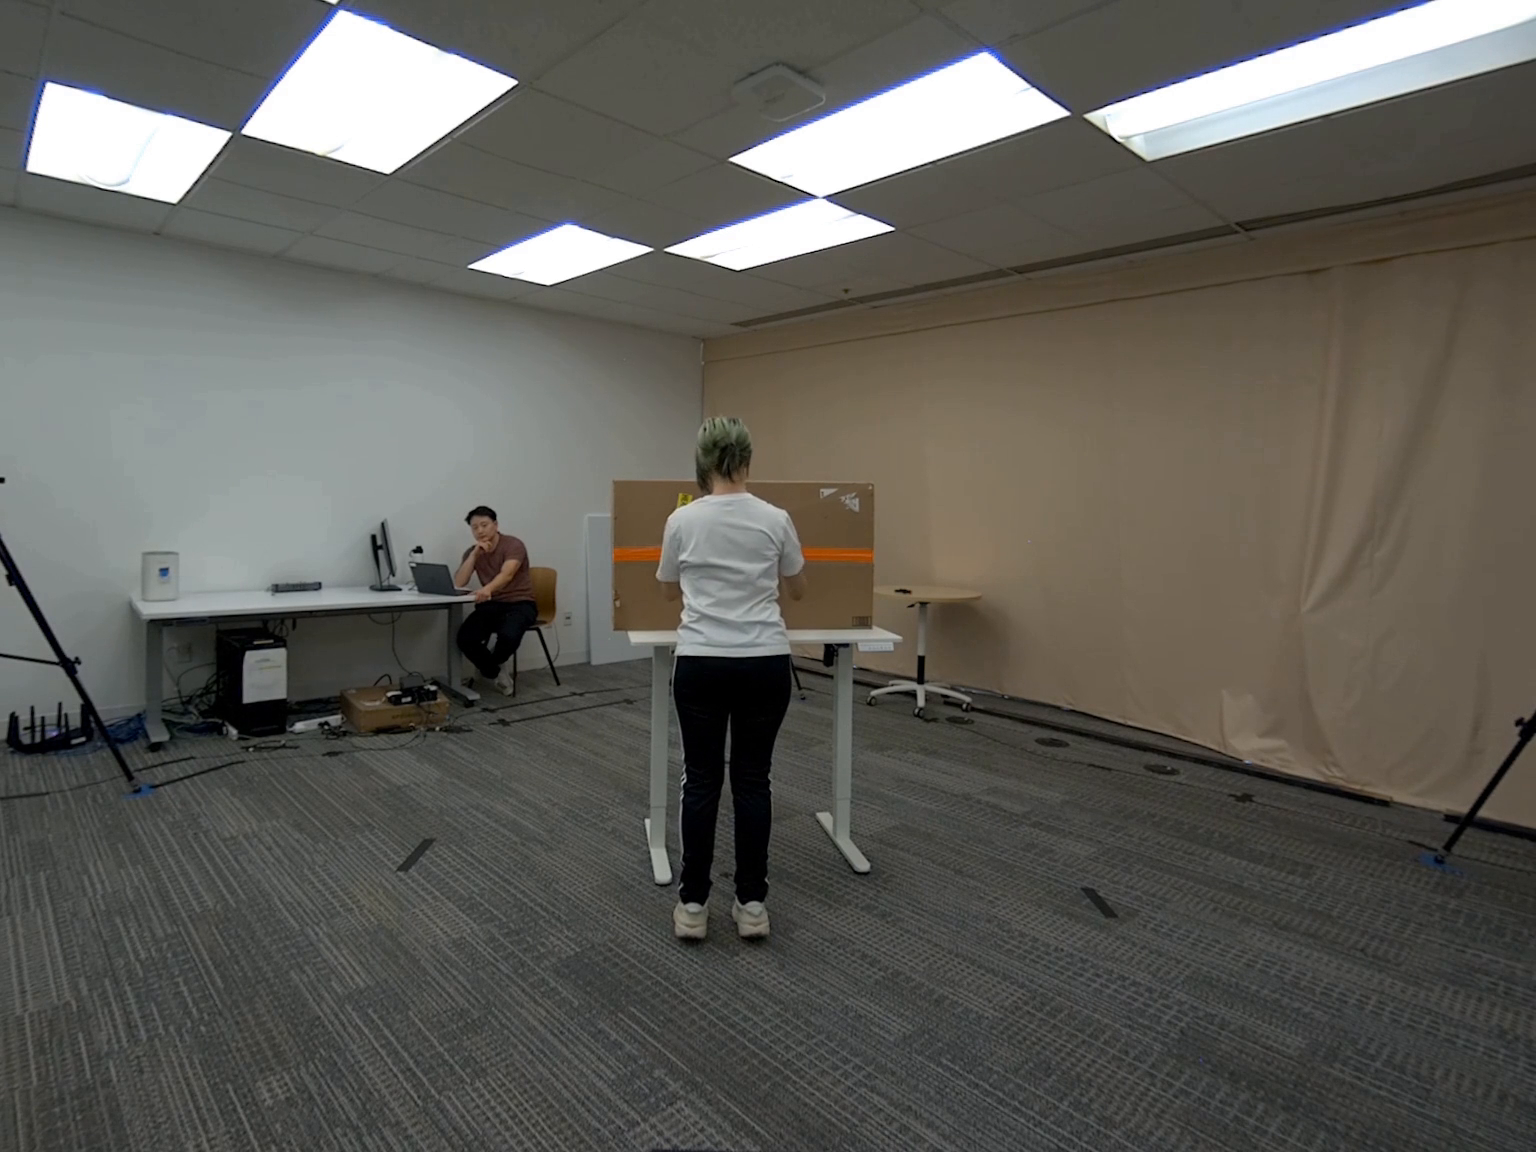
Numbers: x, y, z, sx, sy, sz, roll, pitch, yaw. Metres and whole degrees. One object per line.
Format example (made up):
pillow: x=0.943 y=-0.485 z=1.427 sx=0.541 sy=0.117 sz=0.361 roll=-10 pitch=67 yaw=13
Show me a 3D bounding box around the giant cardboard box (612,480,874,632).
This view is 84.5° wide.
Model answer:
giant cardboard box: x=-0.128 y=-0.095 z=3.447 sx=1.019 sy=0.583 sz=0.451 roll=0 pitch=3 yaw=-9
